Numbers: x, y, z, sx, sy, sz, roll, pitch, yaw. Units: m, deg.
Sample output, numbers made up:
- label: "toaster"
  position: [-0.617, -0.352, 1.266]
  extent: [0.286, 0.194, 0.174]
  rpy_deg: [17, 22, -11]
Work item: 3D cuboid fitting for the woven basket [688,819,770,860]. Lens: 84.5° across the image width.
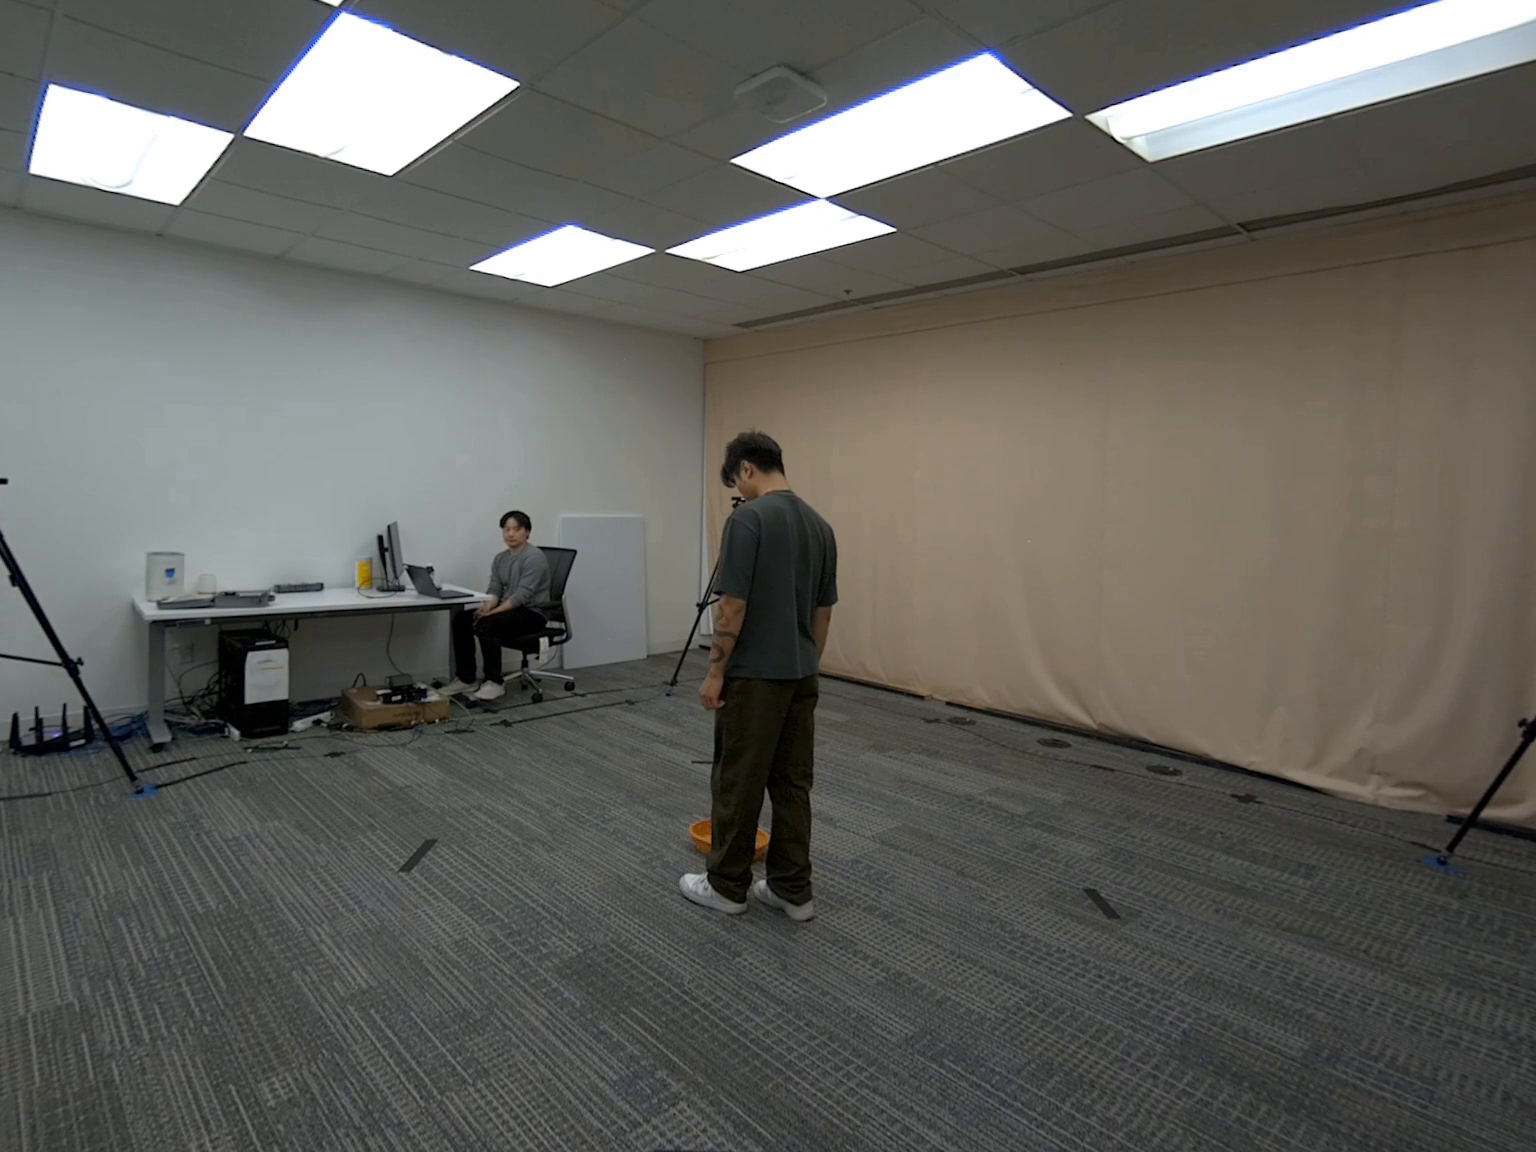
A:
- label: "woven basket"
  position: [-0.159, 1.049, 3.330]
  extent: [0.359, 0.073, 0.246]
  rpy_deg: [6, 6, 42]
